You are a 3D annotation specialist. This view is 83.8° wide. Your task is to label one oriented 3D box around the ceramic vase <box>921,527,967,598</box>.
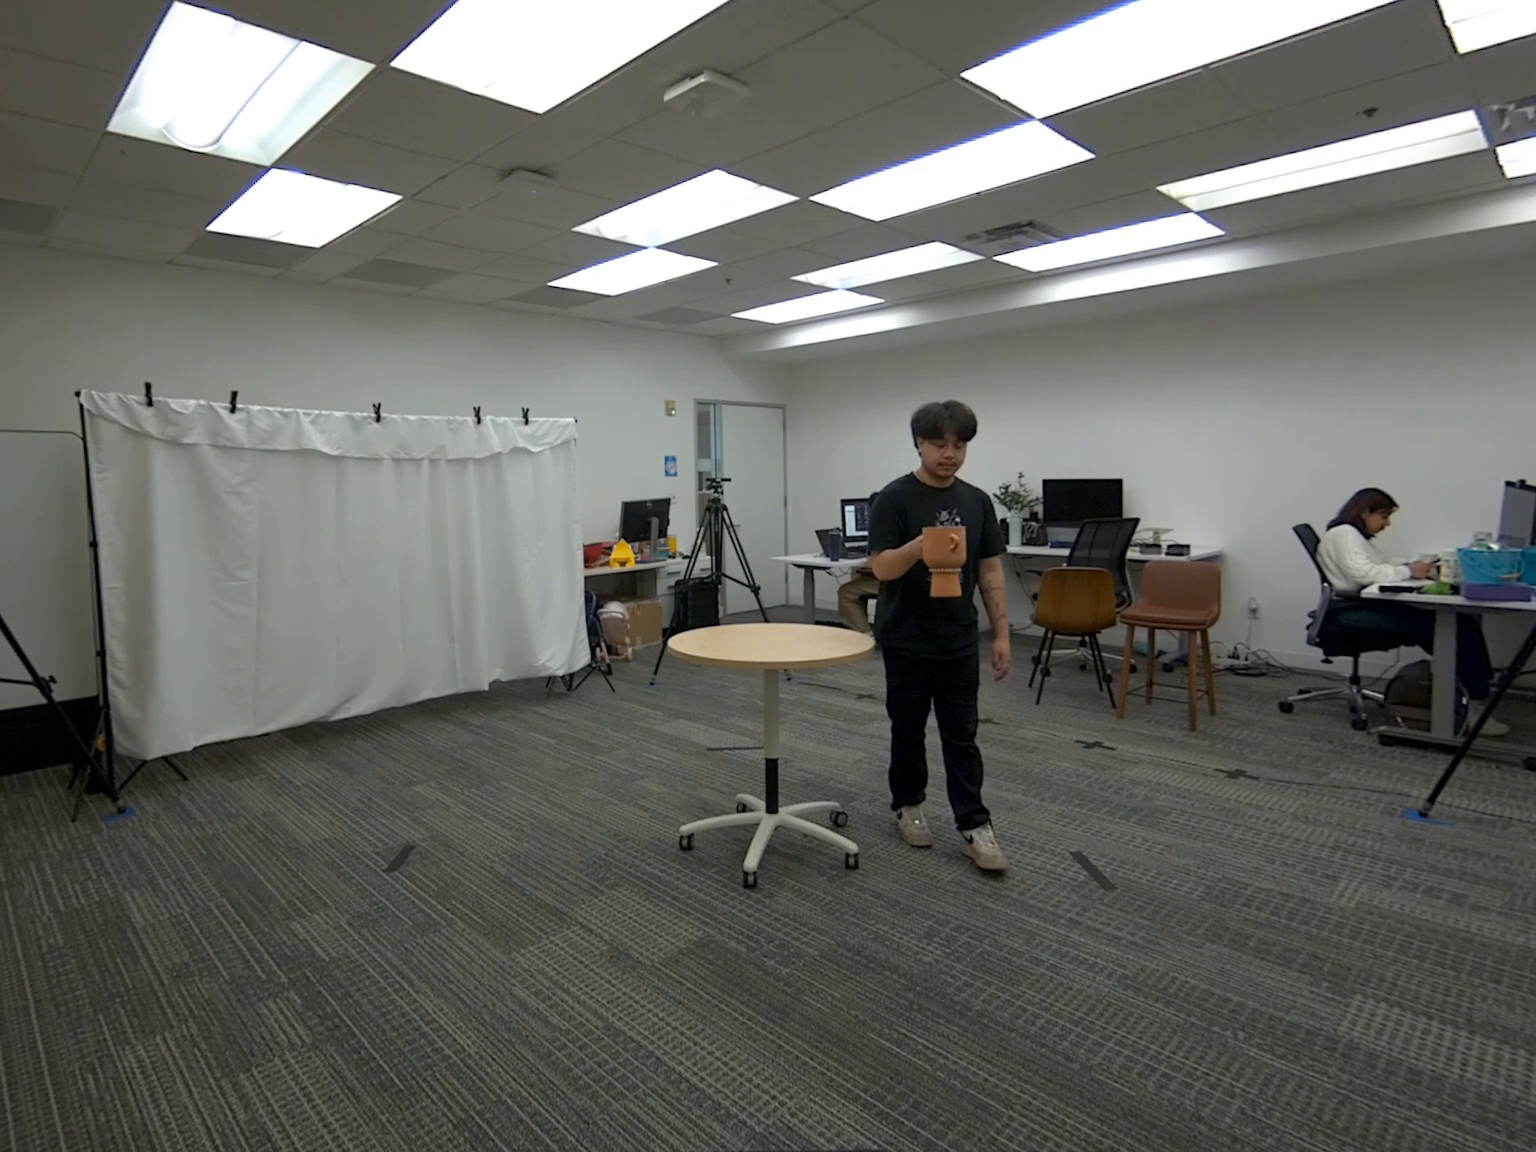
[{"bbox_3d":[0.570,-0.046,2.728,0.138,0.219,0.155,-2,1,29],"label":"ceramic vase"}]
